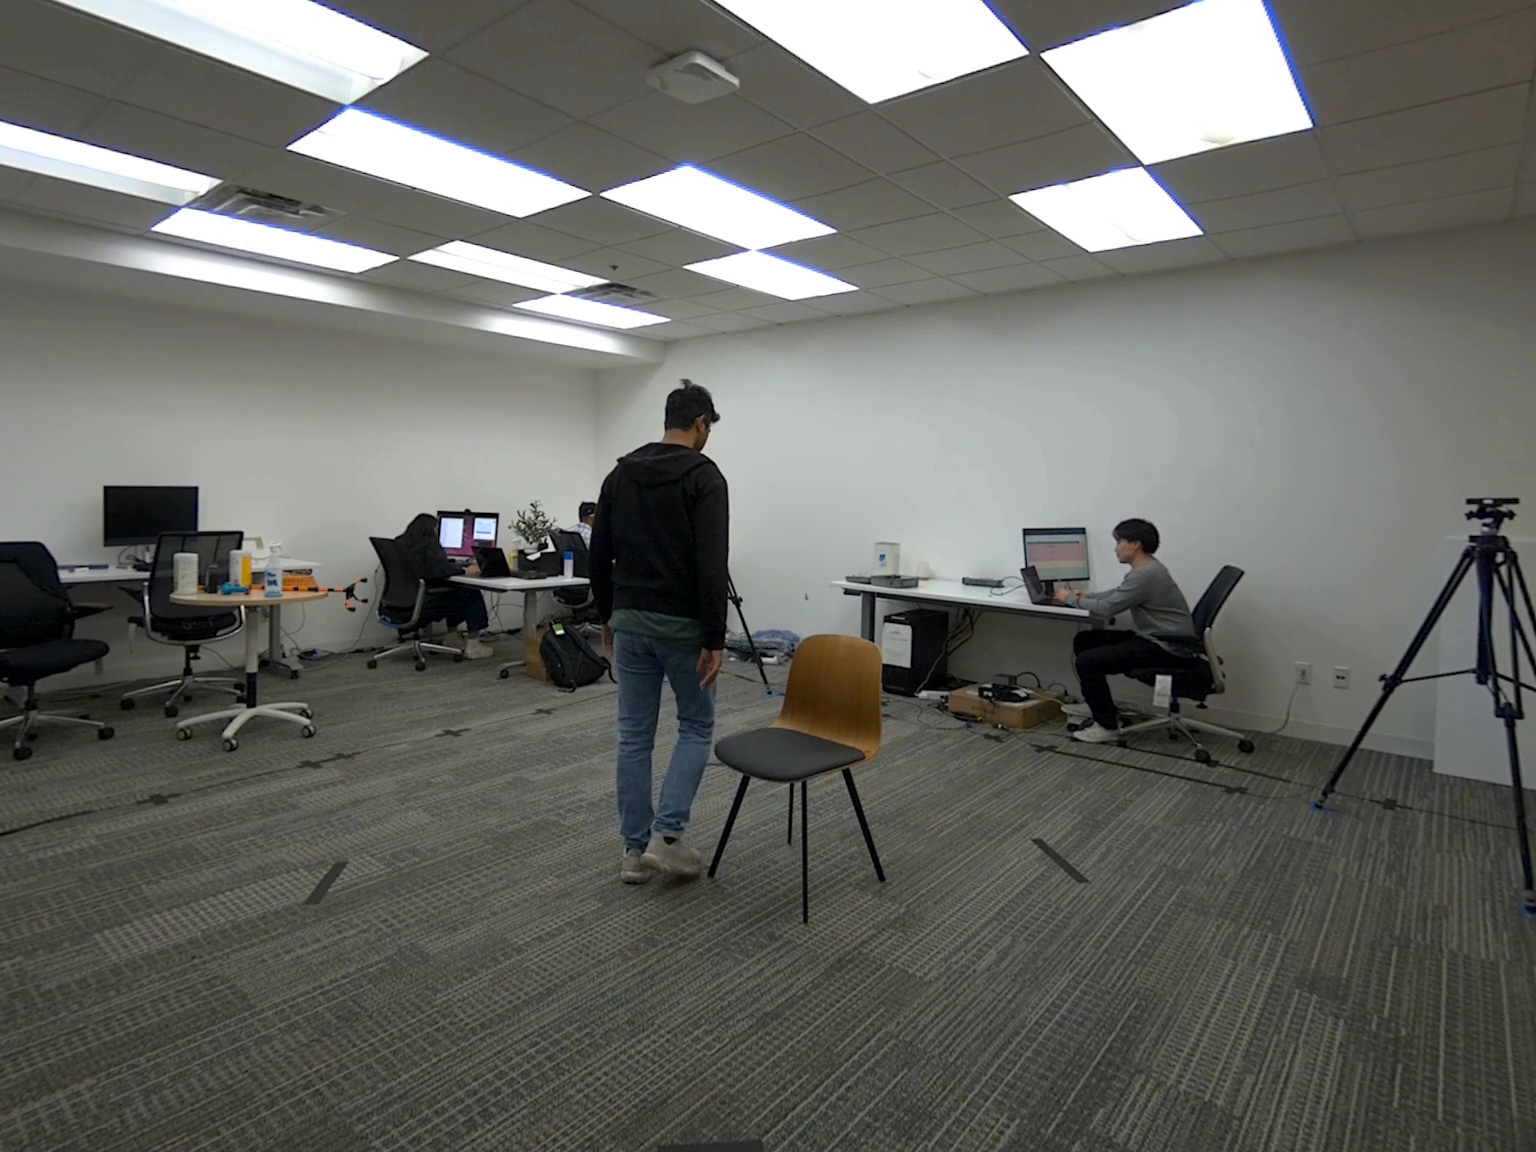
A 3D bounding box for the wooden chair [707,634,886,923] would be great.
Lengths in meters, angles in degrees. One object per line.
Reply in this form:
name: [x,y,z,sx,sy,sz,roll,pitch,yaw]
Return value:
wooden chair: [0.098,0.656,3.010,0.494,0.877,0.506,5,1,43]
